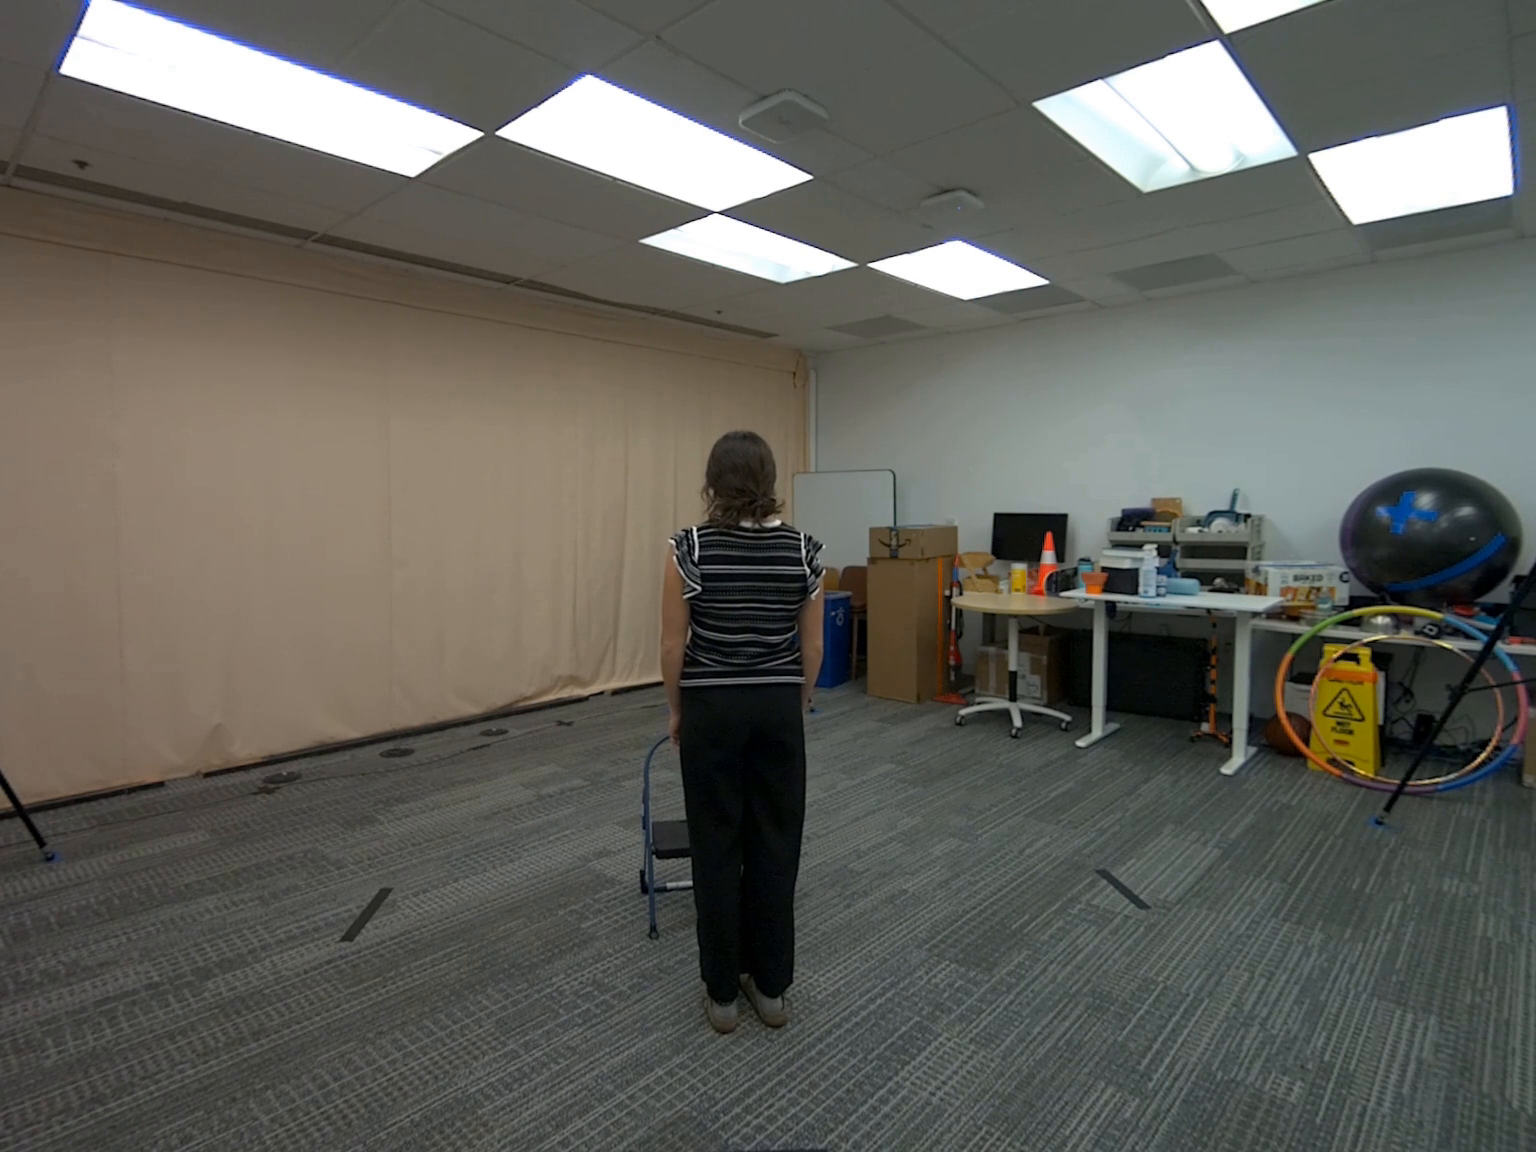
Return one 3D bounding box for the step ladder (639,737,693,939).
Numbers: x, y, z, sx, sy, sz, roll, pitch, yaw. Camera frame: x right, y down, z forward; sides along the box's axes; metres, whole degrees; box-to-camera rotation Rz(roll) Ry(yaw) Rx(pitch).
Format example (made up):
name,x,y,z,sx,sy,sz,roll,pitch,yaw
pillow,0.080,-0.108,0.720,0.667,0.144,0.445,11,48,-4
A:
name,x,y,z,sx,sy,sz,roll,pitch,yaw
step ladder,-0.219,0.851,2.904,0.425,0.604,0.355,-1,4,-13
